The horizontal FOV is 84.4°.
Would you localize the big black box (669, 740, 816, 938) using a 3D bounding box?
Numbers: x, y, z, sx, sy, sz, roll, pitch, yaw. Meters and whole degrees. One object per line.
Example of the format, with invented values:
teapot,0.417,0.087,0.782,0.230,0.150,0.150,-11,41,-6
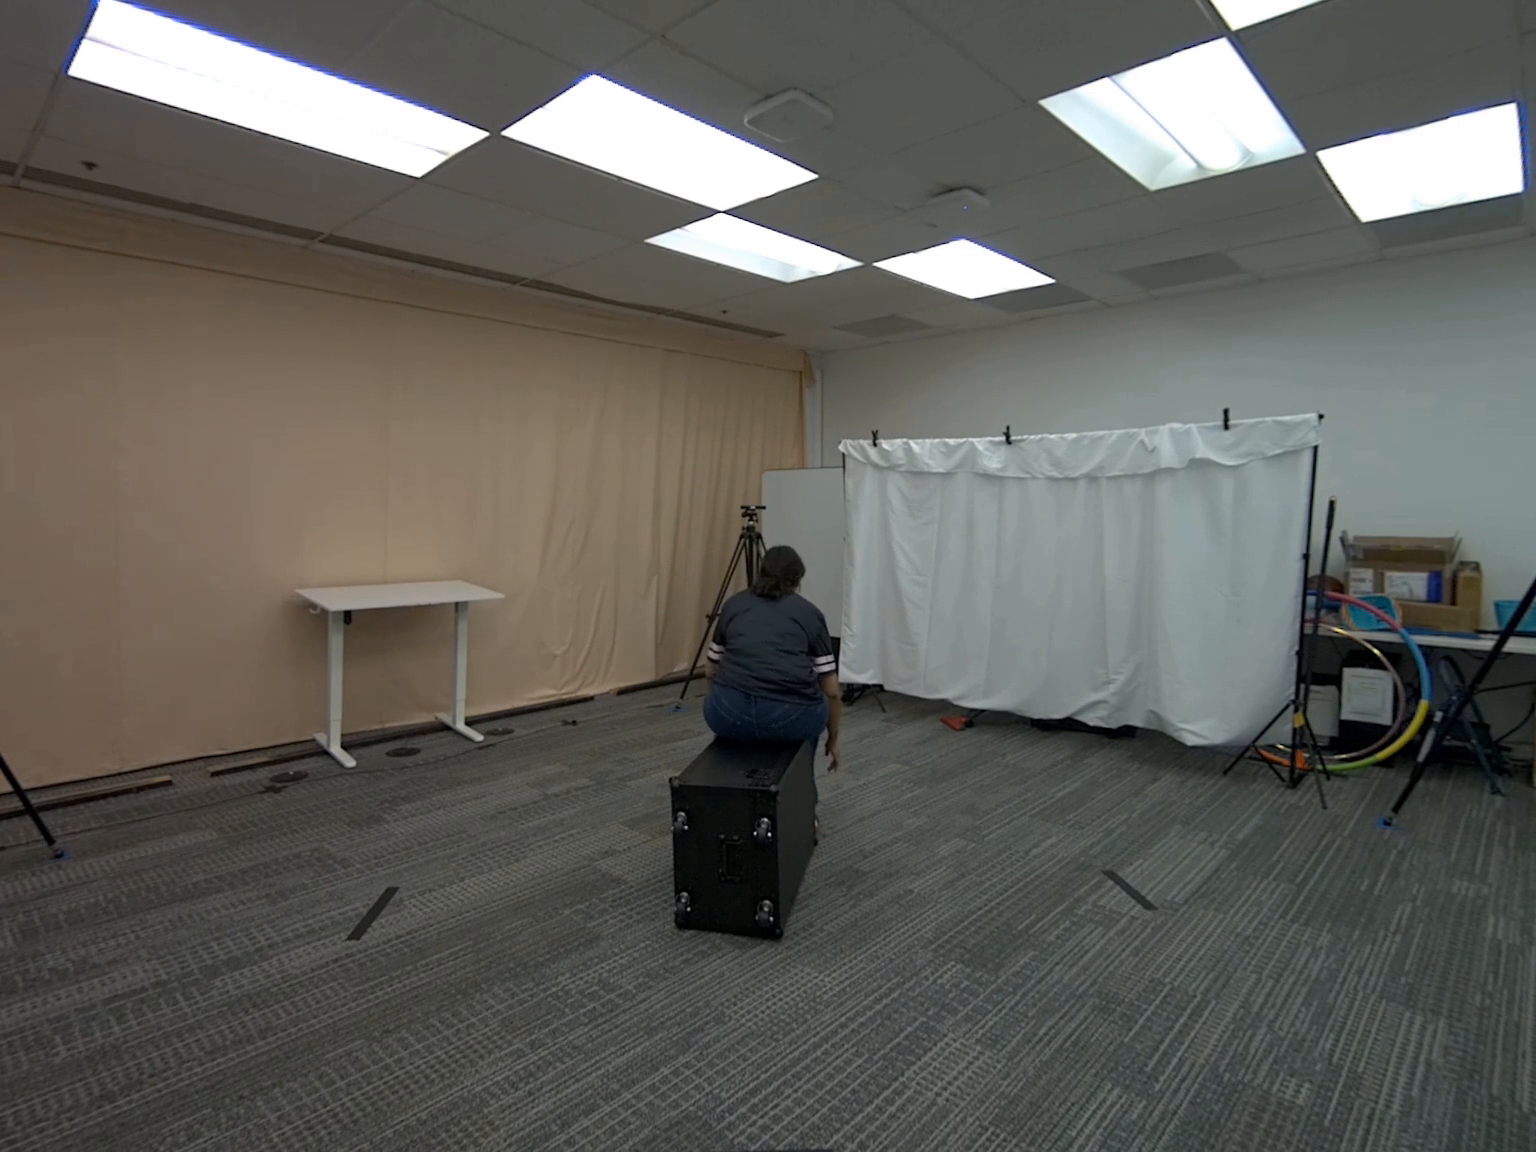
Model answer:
big black box,-0.072,0.875,3.055,0.391,0.522,0.857,1,5,13
